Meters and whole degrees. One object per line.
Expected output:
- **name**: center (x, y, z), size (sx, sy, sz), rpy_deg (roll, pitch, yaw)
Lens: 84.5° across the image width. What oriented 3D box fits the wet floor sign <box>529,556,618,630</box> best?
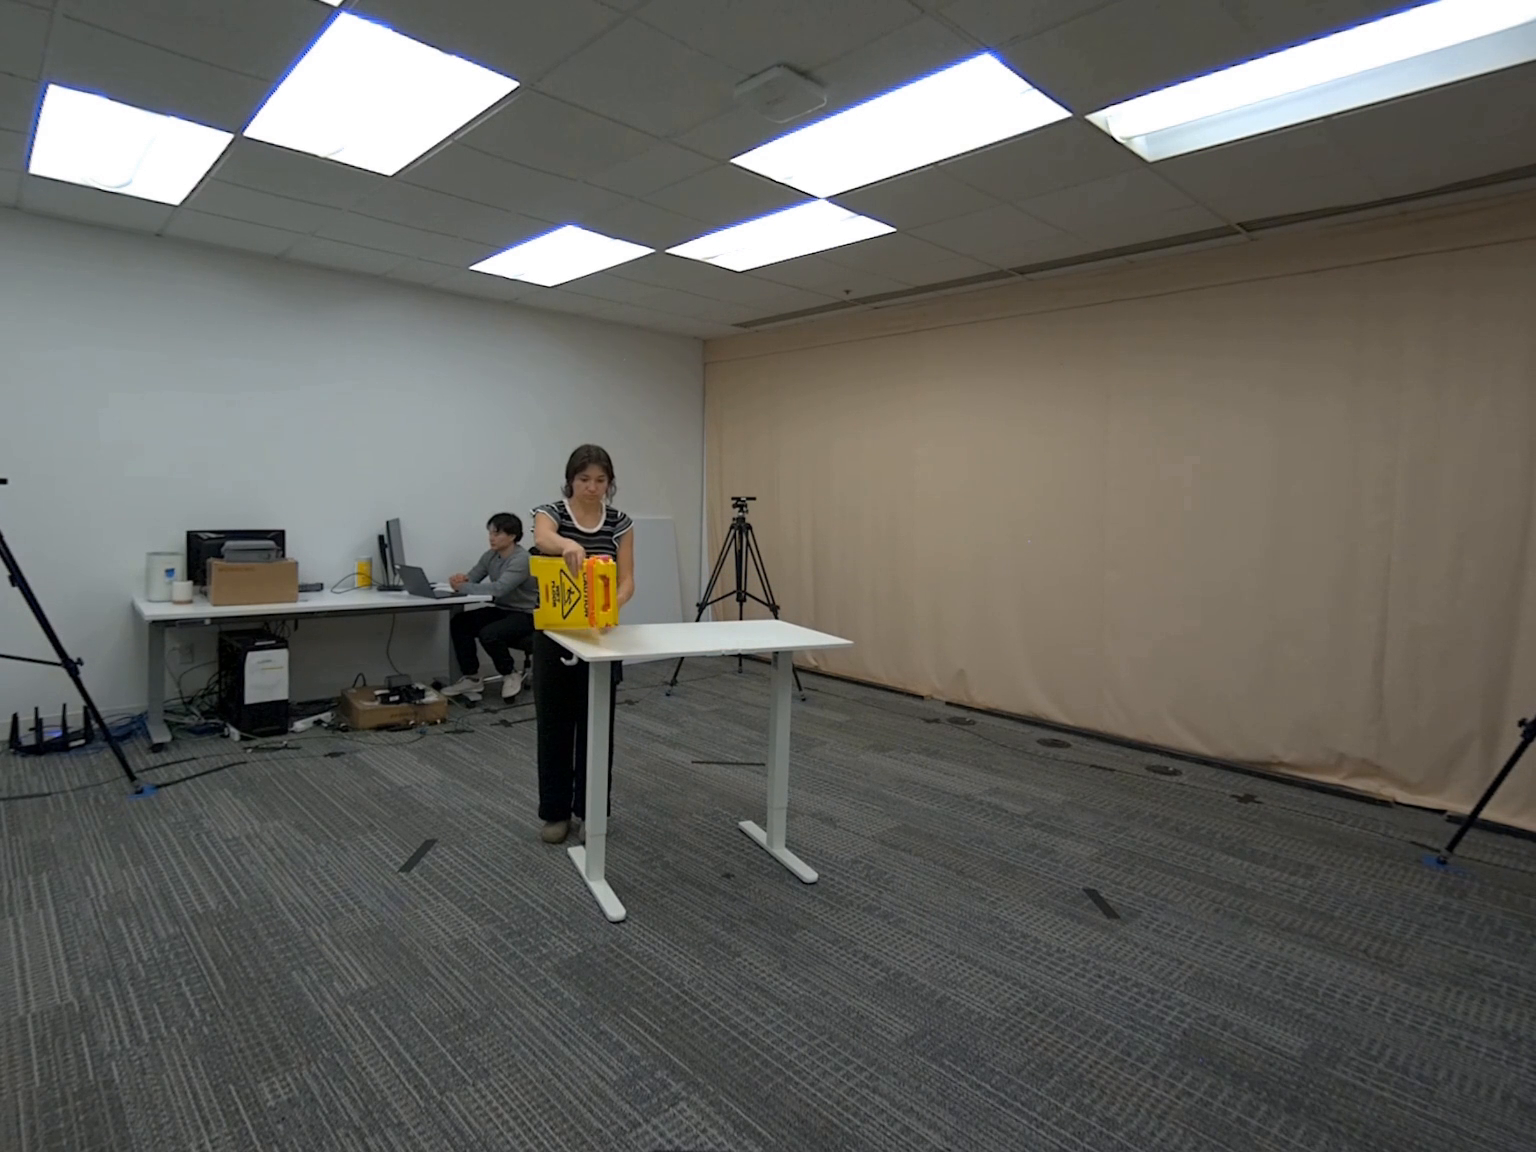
- **wet floor sign**: center (-0.644, 0.060, 2.956), size (0.284, 0.282, 0.658), rpy_deg (-3, 1, -27)
